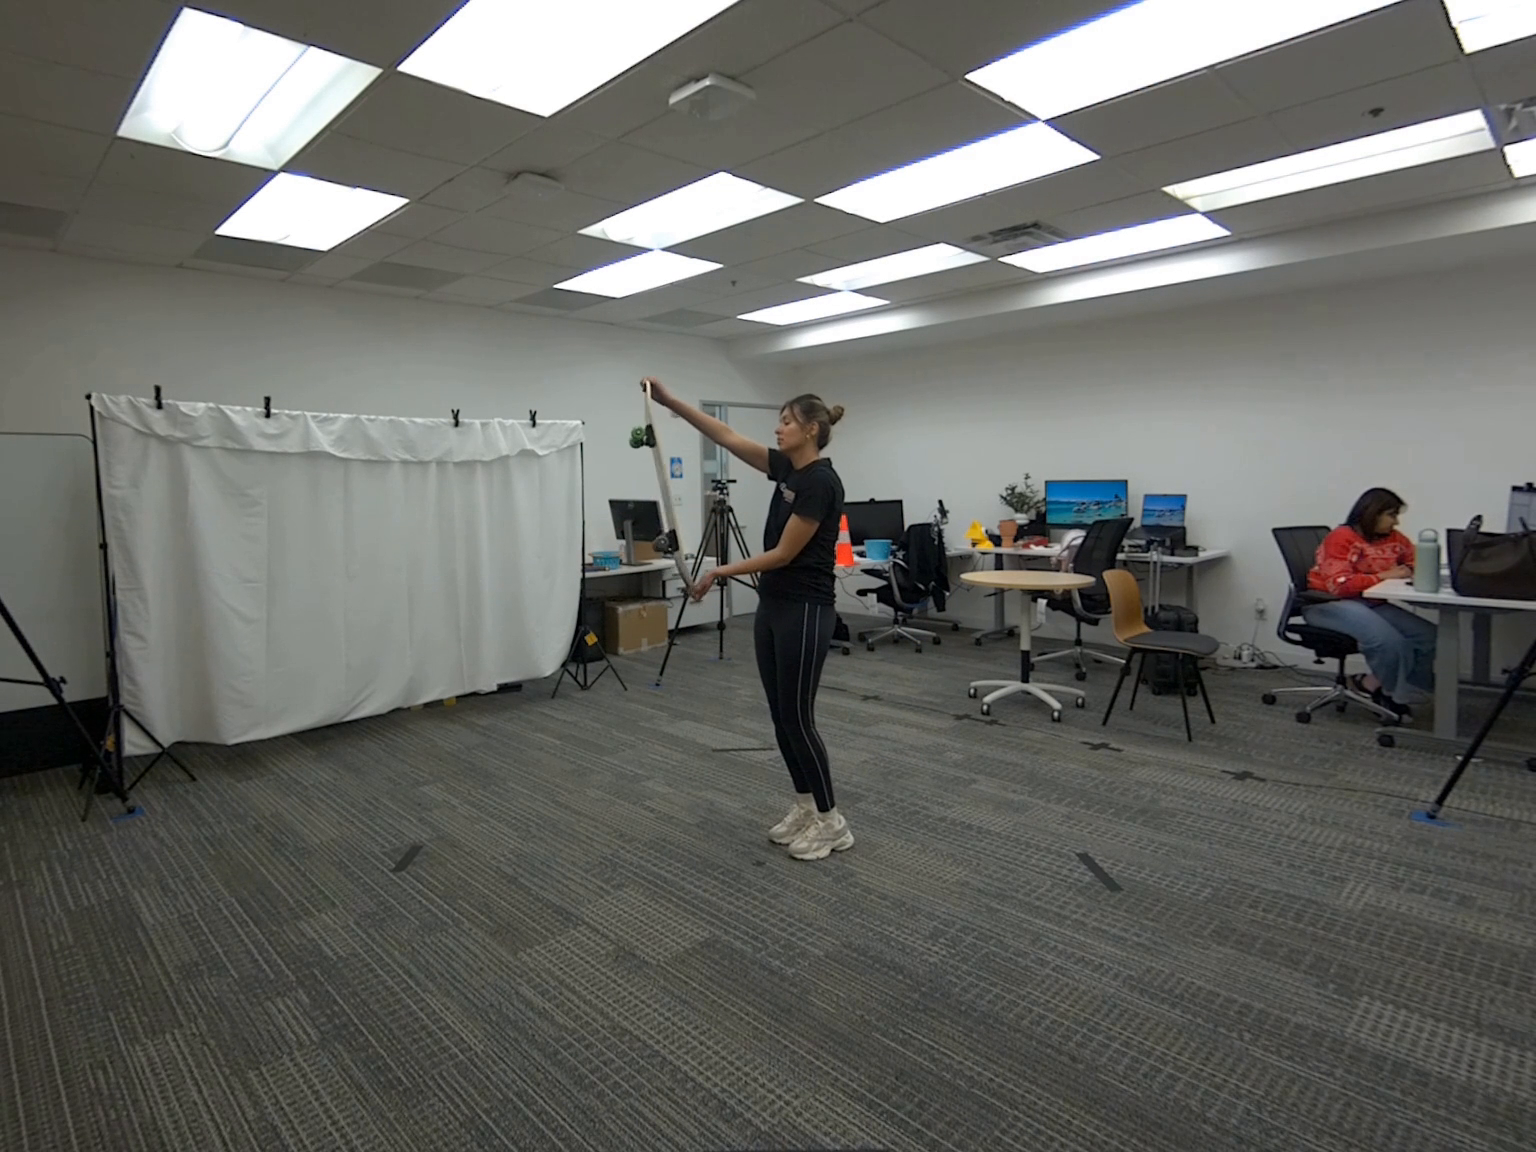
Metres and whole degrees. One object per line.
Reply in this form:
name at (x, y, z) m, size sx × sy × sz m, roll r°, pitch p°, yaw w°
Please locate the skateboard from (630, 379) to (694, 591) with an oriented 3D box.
skateboard at (-0.400, -0.308, 3.096) m, size 0.109 × 0.788 × 0.194 m, roll -12°, pitch -3°, yaw -11°
